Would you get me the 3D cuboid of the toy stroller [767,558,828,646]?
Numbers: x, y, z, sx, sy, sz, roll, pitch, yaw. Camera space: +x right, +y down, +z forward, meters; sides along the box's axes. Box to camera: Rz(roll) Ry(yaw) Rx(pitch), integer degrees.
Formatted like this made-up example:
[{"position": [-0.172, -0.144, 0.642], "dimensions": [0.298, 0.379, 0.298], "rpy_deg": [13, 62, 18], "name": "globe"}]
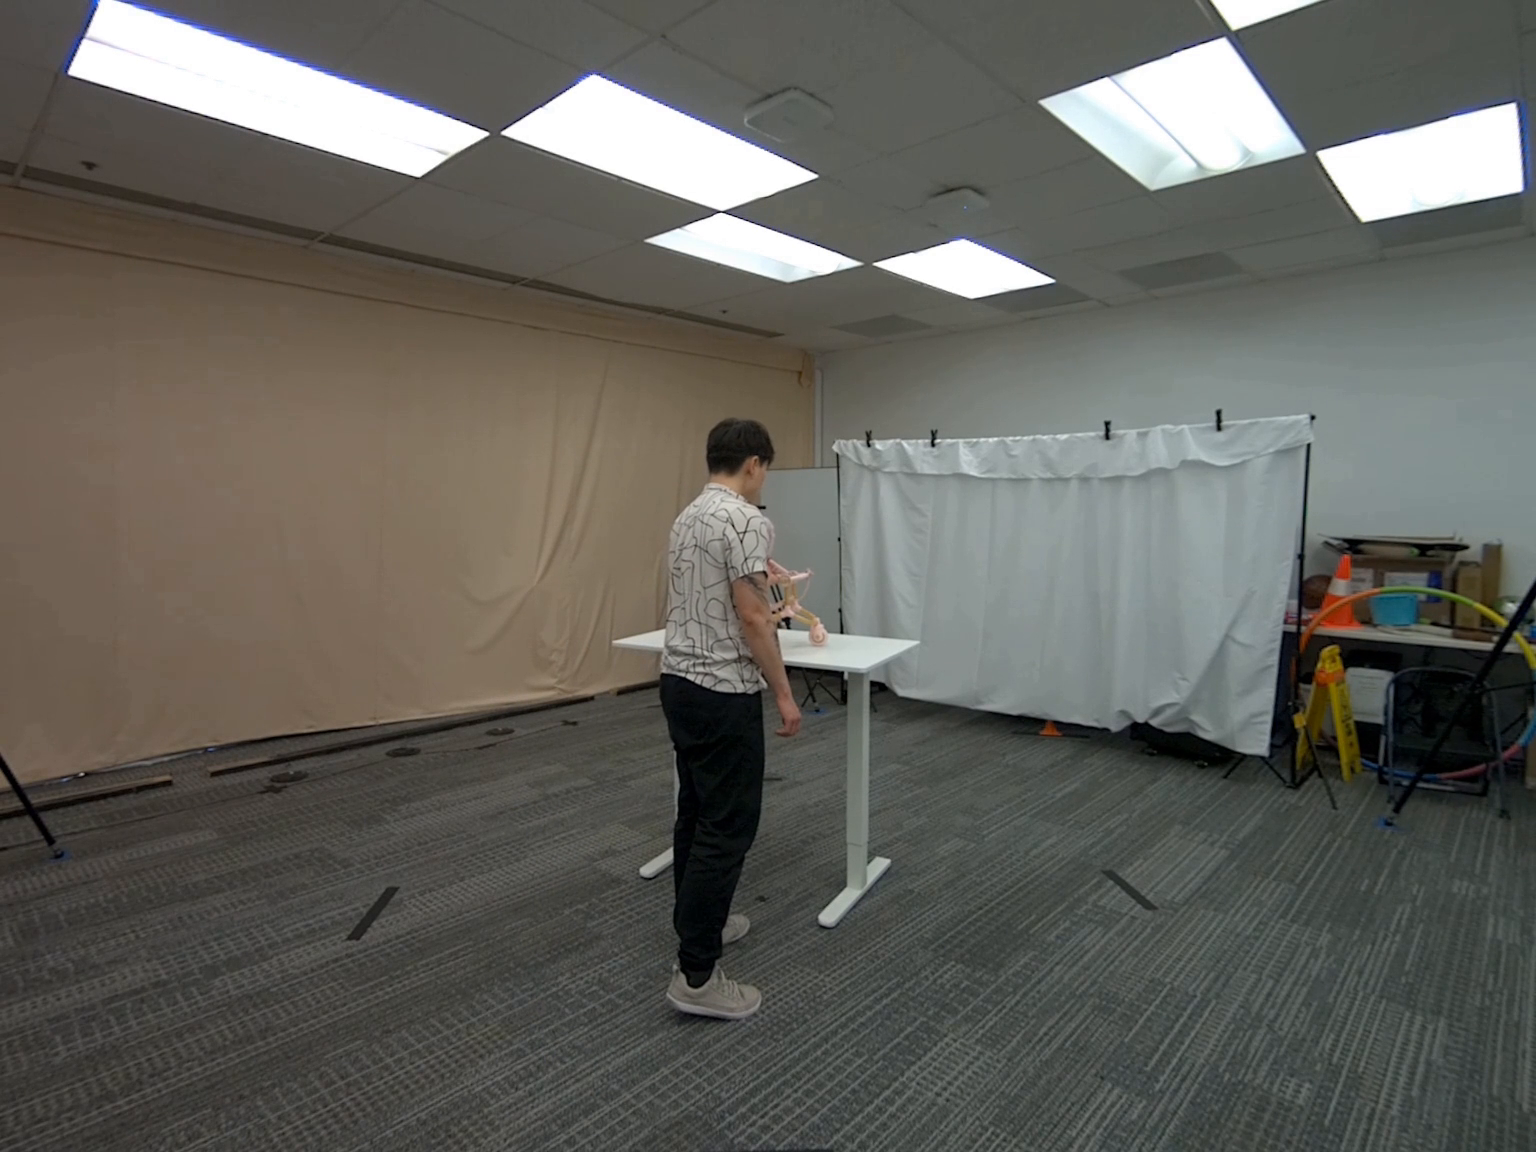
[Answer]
[{"position": [0.005, 0.025, 3.093], "dimensions": [0.347, 0.536, 0.277], "rpy_deg": [-13, -1, 17], "name": "toy stroller"}]
